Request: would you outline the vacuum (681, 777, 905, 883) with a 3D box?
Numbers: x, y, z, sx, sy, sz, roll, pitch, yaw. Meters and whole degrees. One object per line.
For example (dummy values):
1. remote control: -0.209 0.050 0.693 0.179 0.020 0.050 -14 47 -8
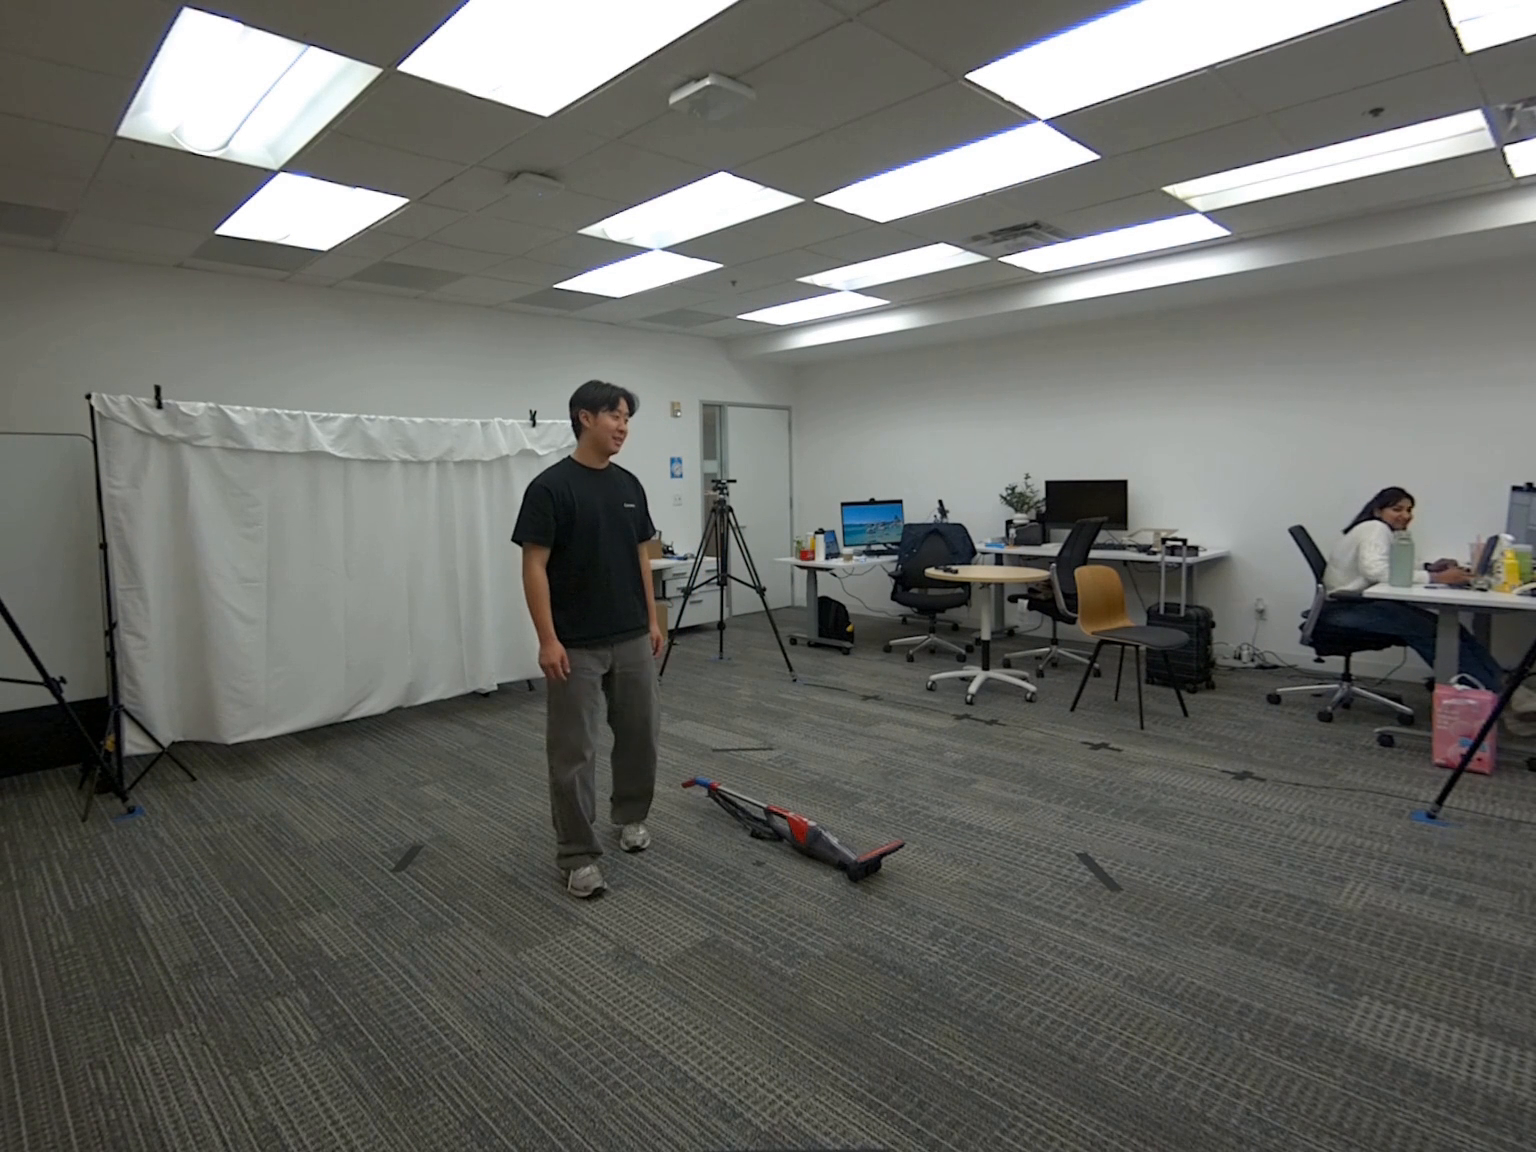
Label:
1. vacuum: 0.002 0.959 3.353 0.246 0.143 1.081 -7 8 -42
